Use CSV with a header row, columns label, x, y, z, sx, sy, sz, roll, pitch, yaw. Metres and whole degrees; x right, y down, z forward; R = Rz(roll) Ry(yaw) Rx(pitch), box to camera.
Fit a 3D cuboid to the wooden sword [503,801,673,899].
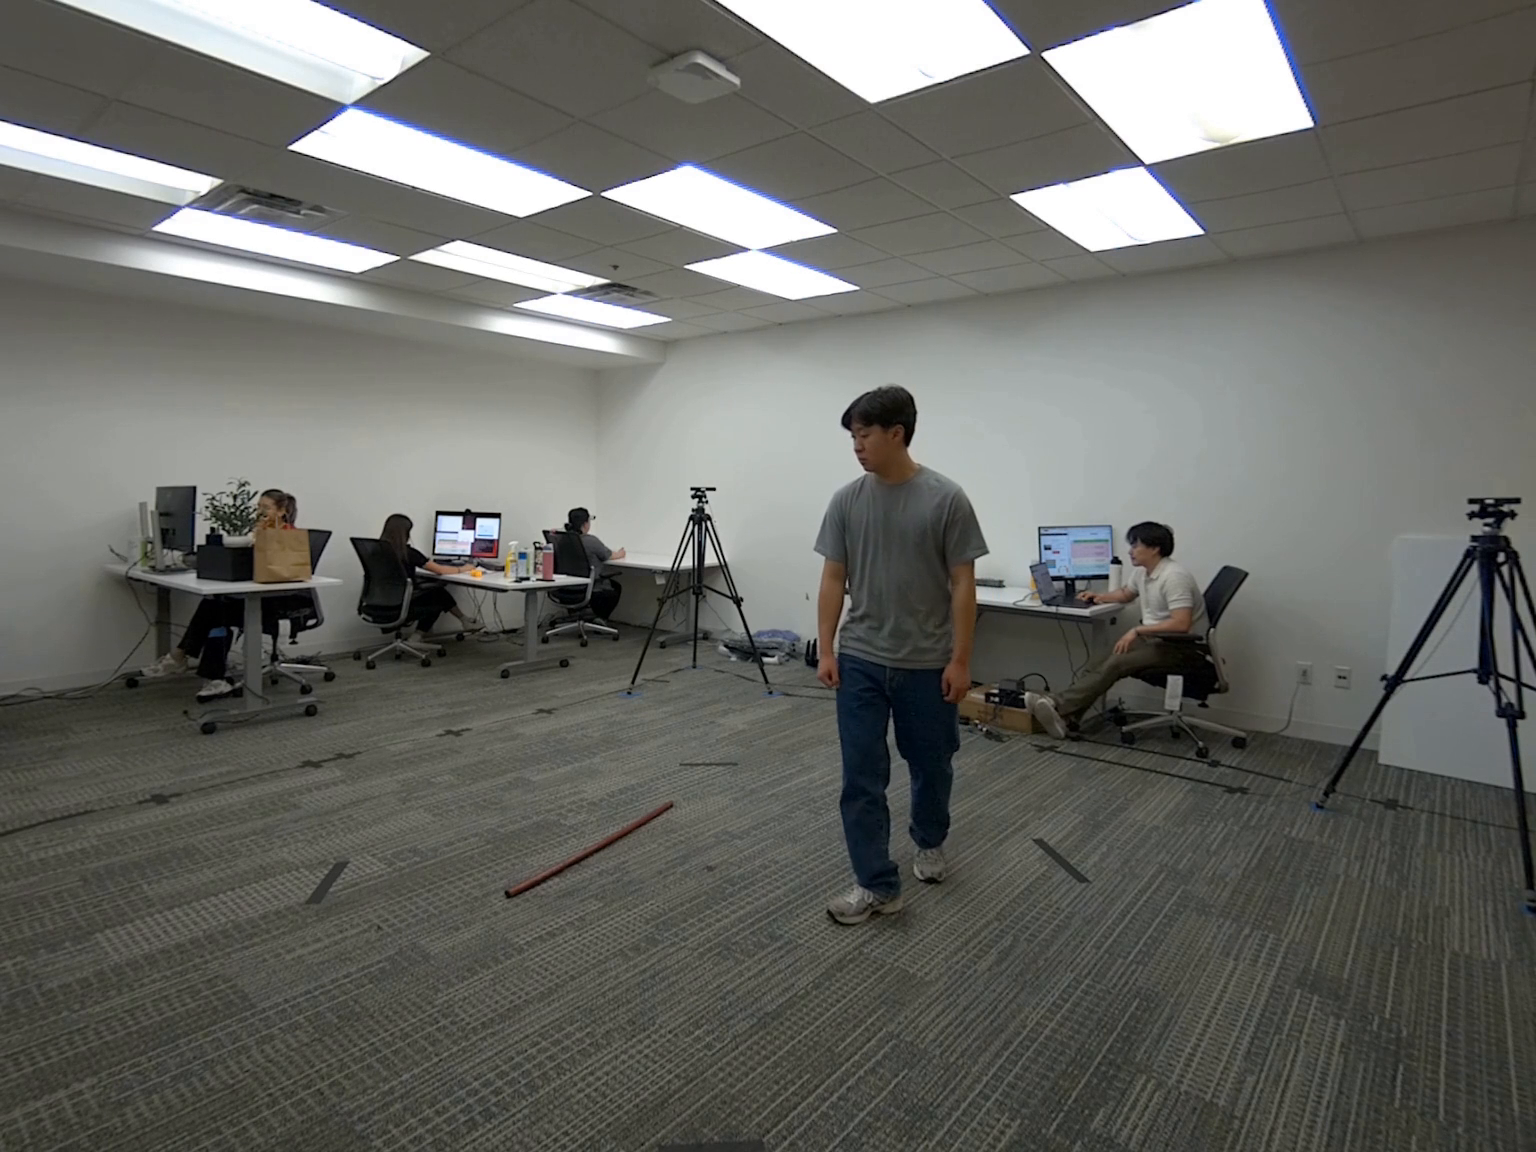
label,x,y,z,sx,sy,sz,roll,pitch,yaw
wooden sword,-0.640,1.017,3.296,0.053,0.024,1.000,30,17,22
